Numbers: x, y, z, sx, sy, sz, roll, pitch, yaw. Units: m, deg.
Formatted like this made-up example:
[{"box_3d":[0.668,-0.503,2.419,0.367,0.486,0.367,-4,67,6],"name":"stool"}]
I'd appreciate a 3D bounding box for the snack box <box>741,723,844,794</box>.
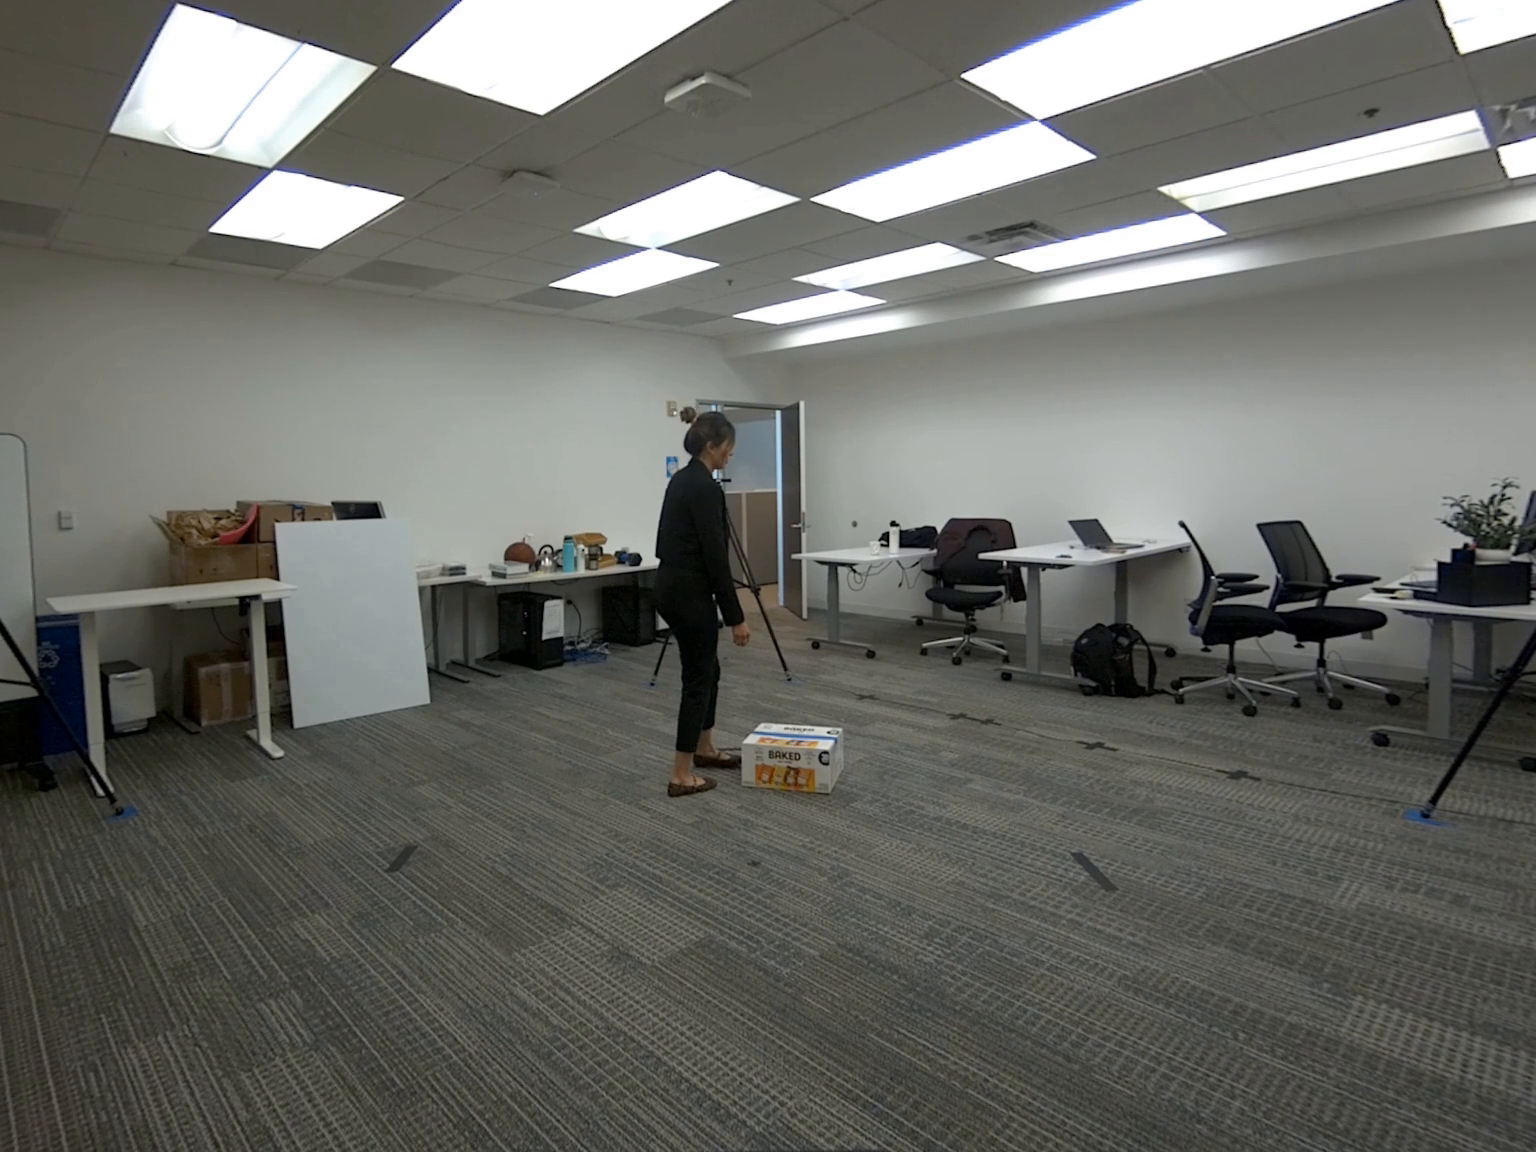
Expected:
[{"box_3d":[0.123,0.844,3.986,0.412,0.205,0.336,0,5,17],"name":"snack box"}]
